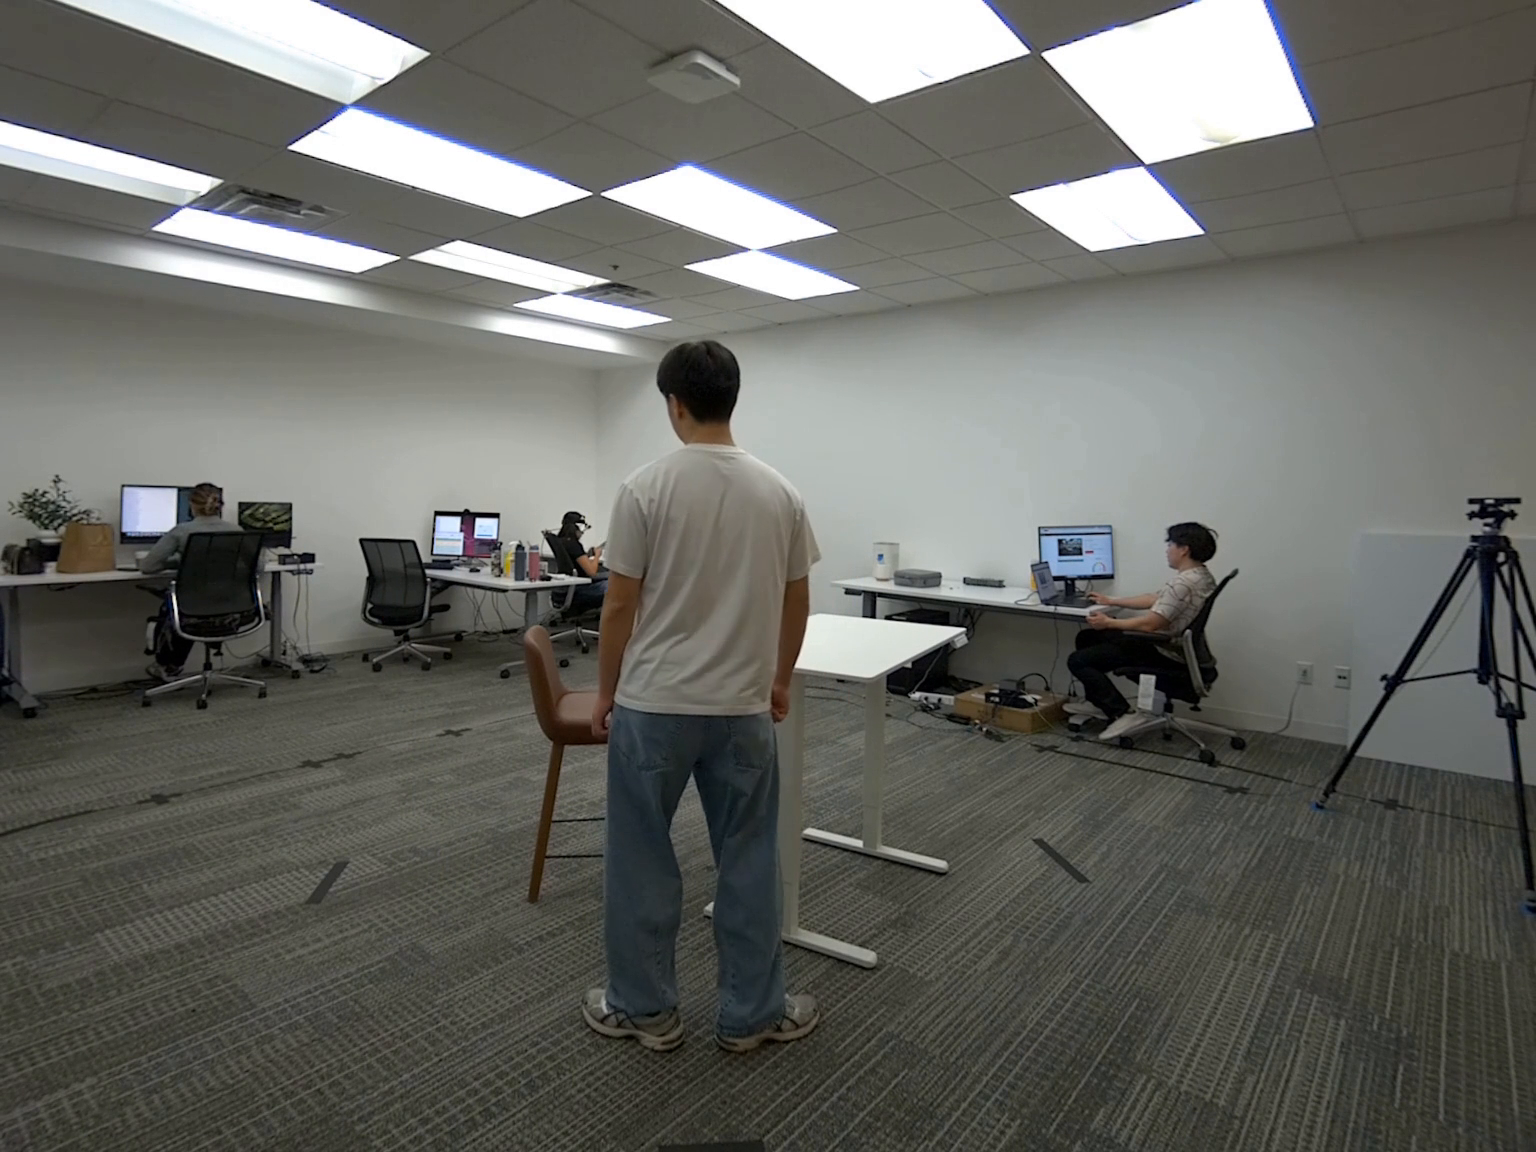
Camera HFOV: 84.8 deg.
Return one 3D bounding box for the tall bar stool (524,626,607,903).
[{"bbox_3d":[-0.625,0.633,3.023,0.463,0.887,0.463,-2,4,-10],"label":"tall bar stool"}]
